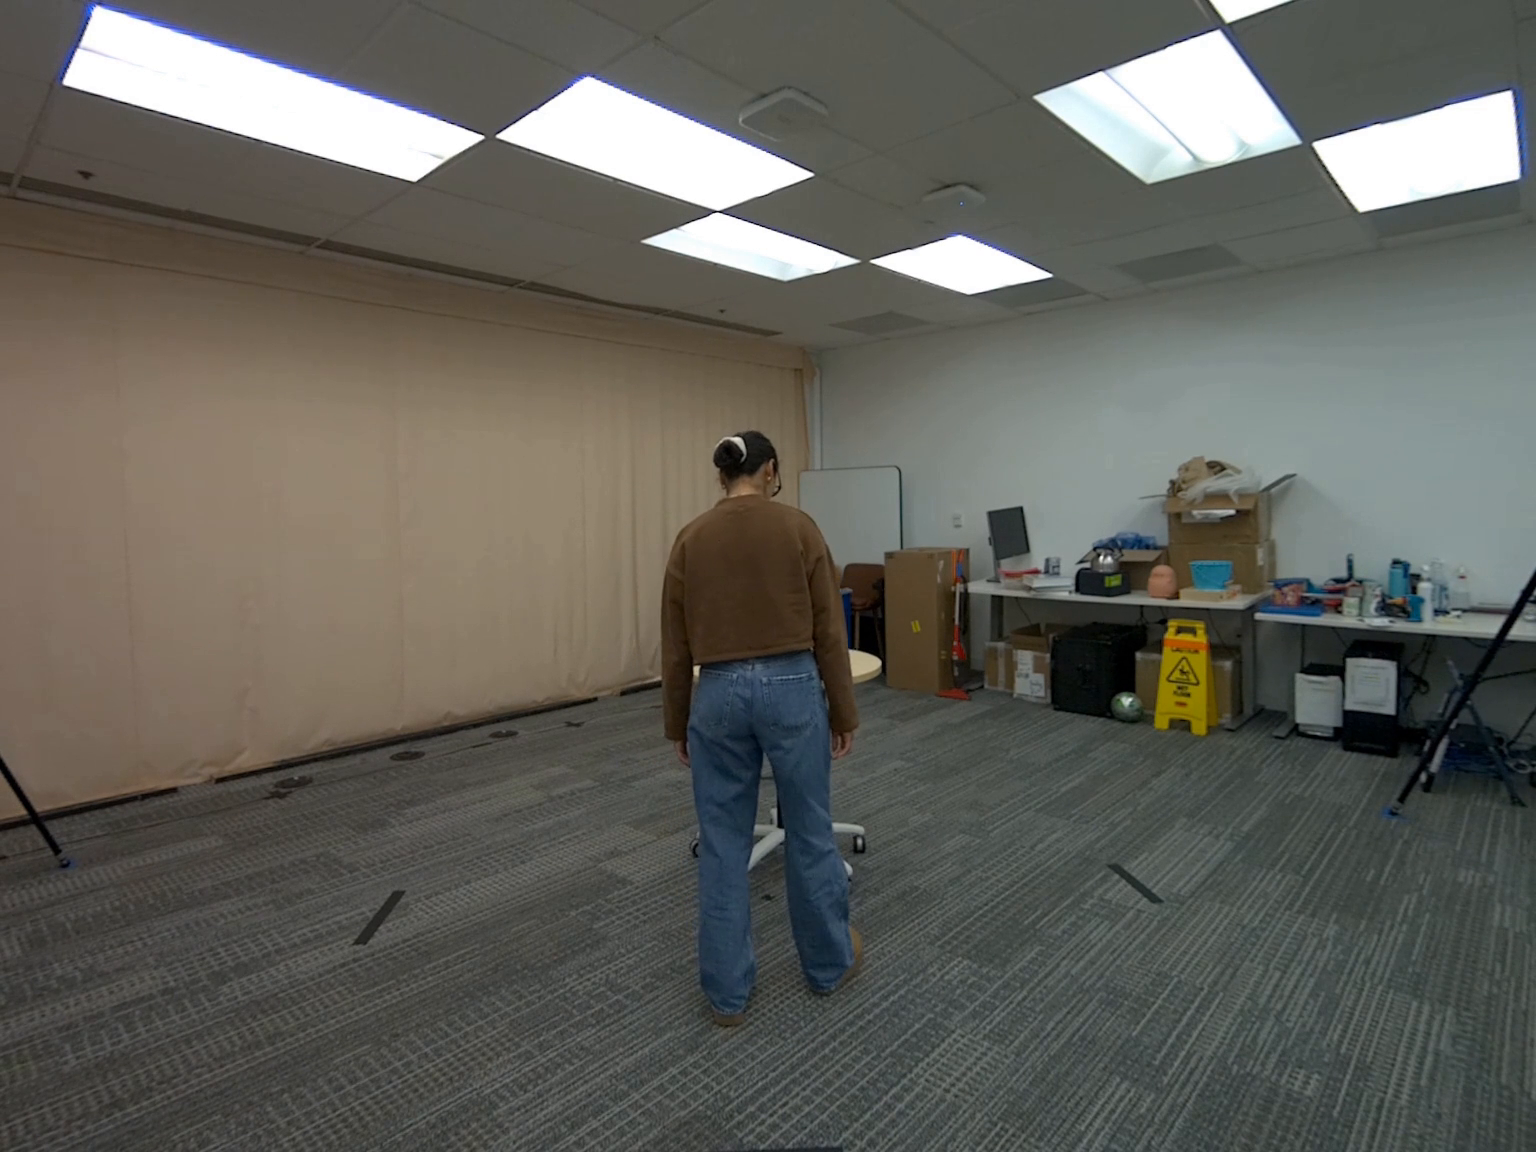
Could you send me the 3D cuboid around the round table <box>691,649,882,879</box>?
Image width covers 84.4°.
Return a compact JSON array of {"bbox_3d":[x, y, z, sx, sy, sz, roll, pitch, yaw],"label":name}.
[{"bbox_3d":[0.052,0.726,3.243,0.763,0.792,0.767,-2,4,-2],"label":"round table"}]
